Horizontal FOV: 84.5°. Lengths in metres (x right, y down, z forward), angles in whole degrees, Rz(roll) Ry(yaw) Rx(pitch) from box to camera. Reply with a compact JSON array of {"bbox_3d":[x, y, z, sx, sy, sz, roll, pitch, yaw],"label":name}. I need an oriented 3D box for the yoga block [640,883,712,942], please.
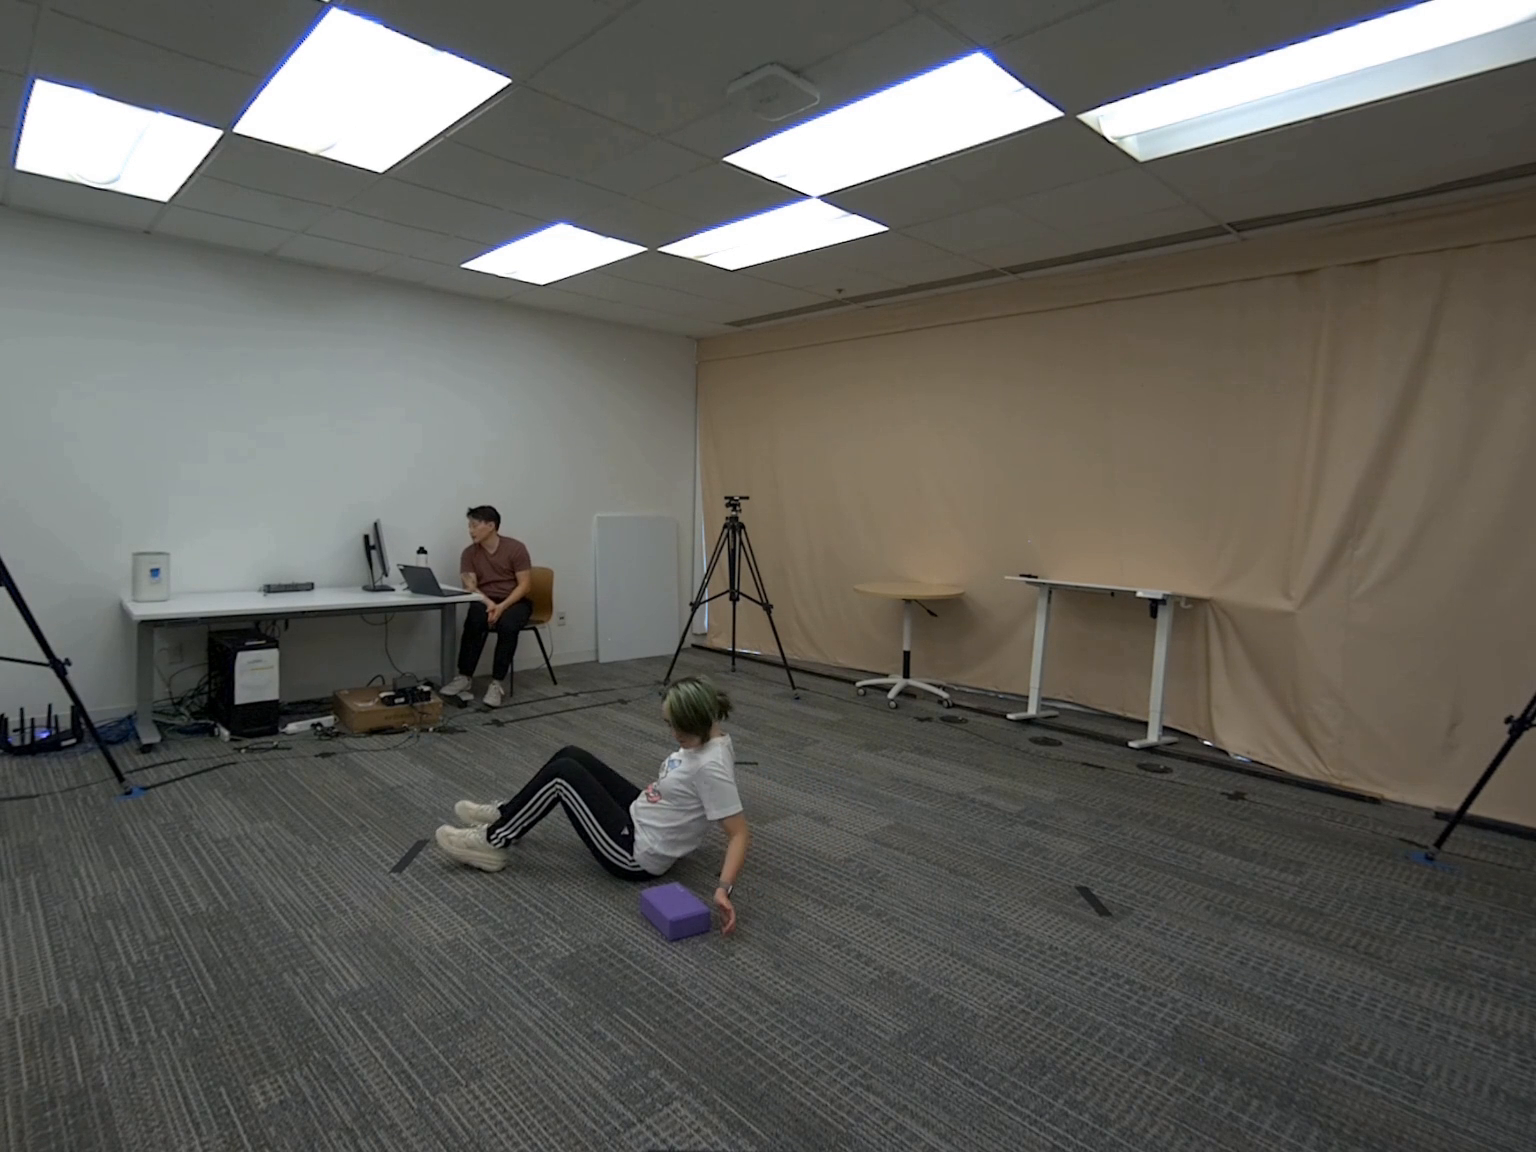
[{"bbox_3d":[-0.320,1.092,2.749,0.146,0.076,0.235,-2,7,-32],"label":"yoga block"}]
